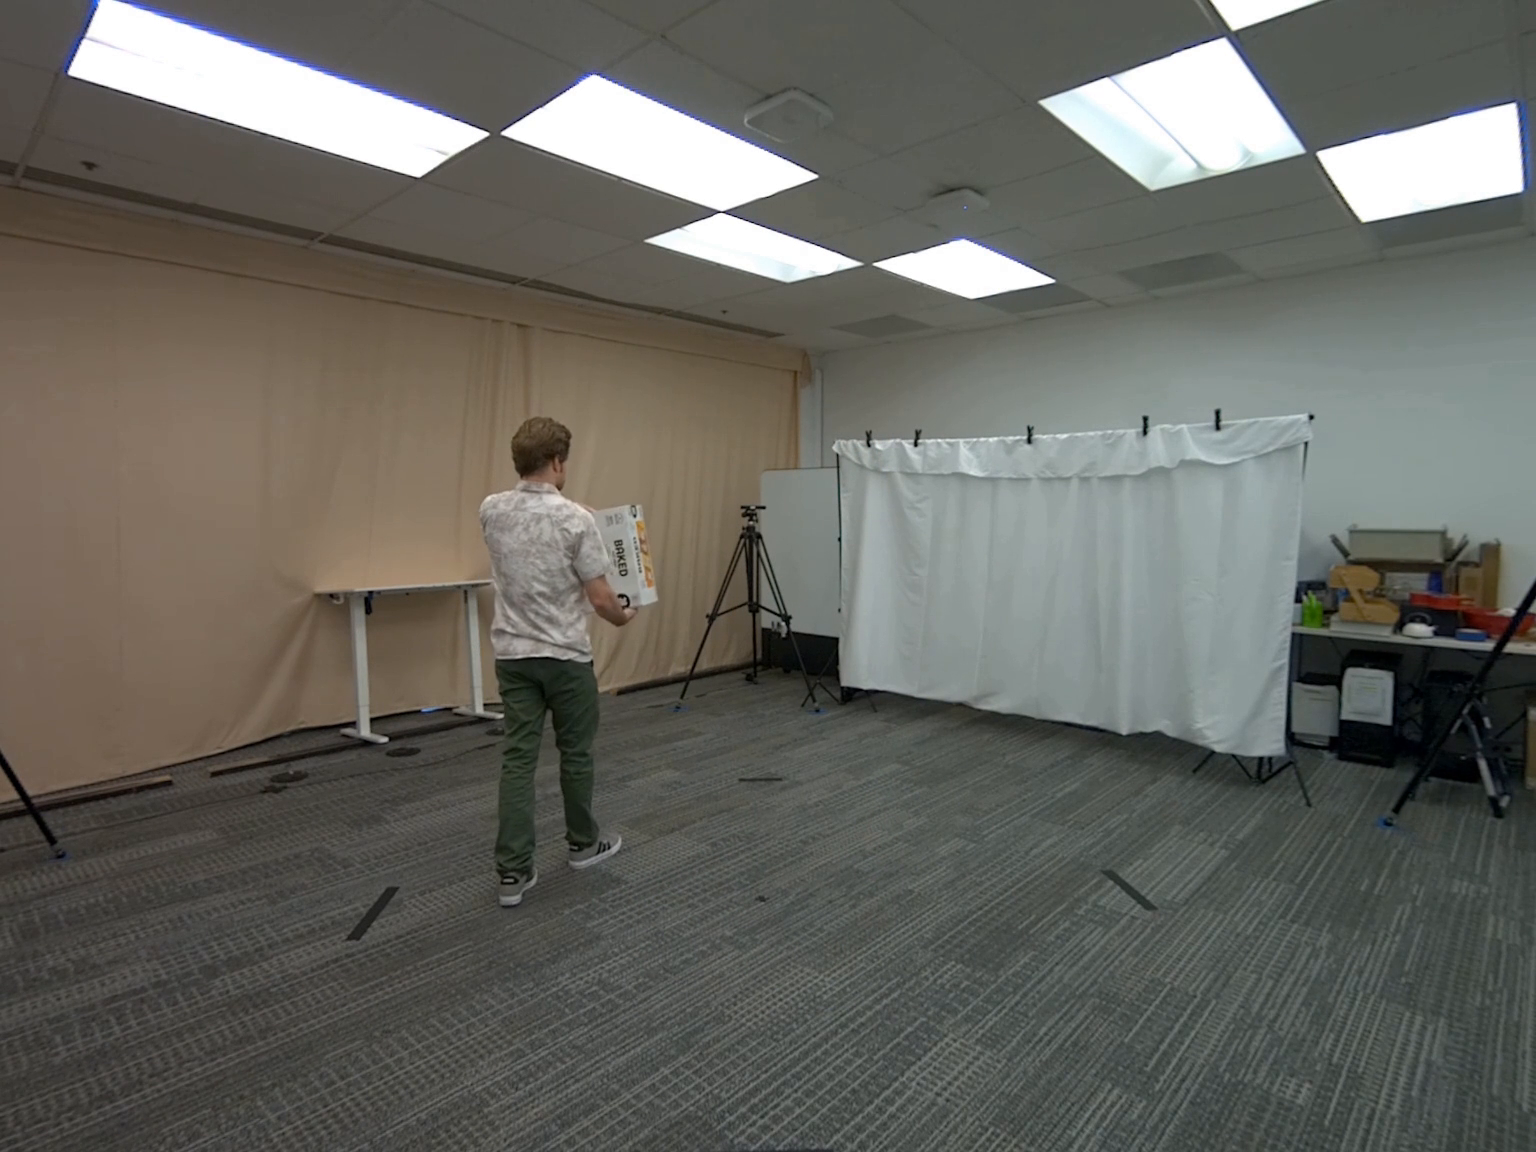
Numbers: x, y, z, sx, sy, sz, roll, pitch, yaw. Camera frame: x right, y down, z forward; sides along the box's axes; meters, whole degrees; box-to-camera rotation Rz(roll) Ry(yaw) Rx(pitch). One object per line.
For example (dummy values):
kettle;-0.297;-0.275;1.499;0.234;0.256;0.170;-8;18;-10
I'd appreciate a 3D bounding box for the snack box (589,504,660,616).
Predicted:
snack box;-0.672;-0.063;3.470;0.345;0.405;0.203;-10;1;14
